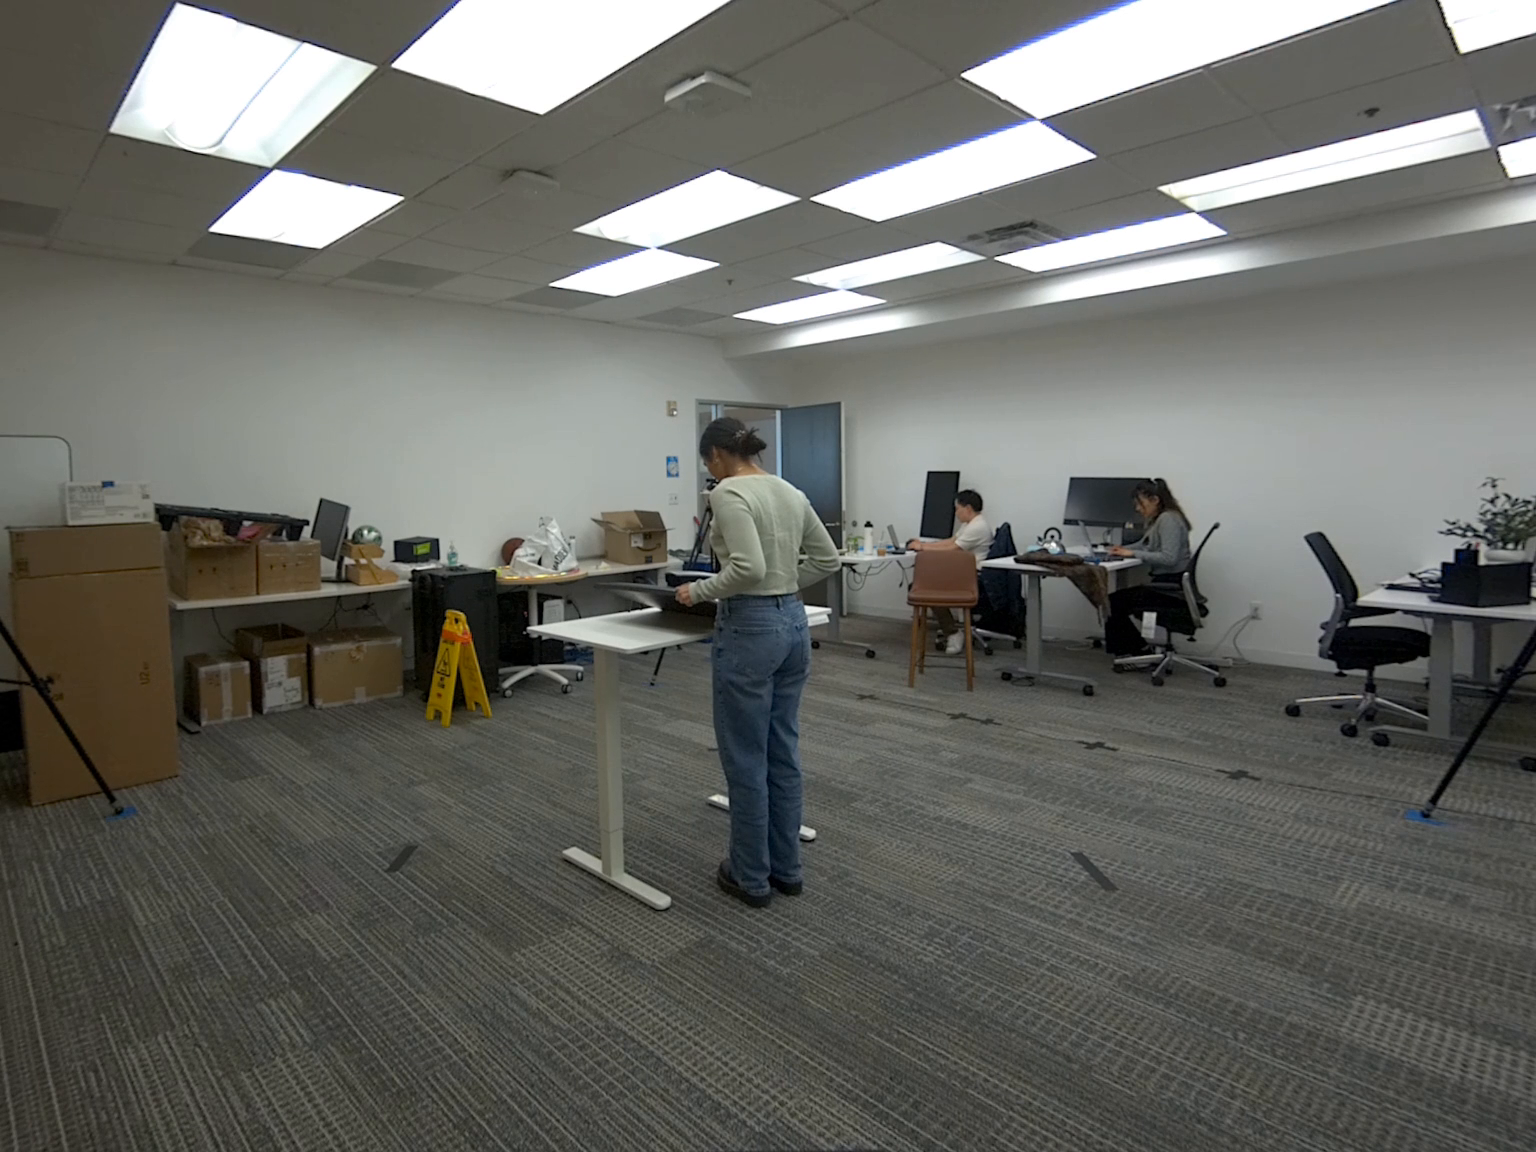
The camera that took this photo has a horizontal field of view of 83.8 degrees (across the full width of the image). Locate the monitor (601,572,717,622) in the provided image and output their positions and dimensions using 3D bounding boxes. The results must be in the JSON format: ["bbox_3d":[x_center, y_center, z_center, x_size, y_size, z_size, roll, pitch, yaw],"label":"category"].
[{"bbox_3d":[-0.269,0.062,3.152,0.508,0.187,0.554,-4,2,-42],"label":"monitor"}]
